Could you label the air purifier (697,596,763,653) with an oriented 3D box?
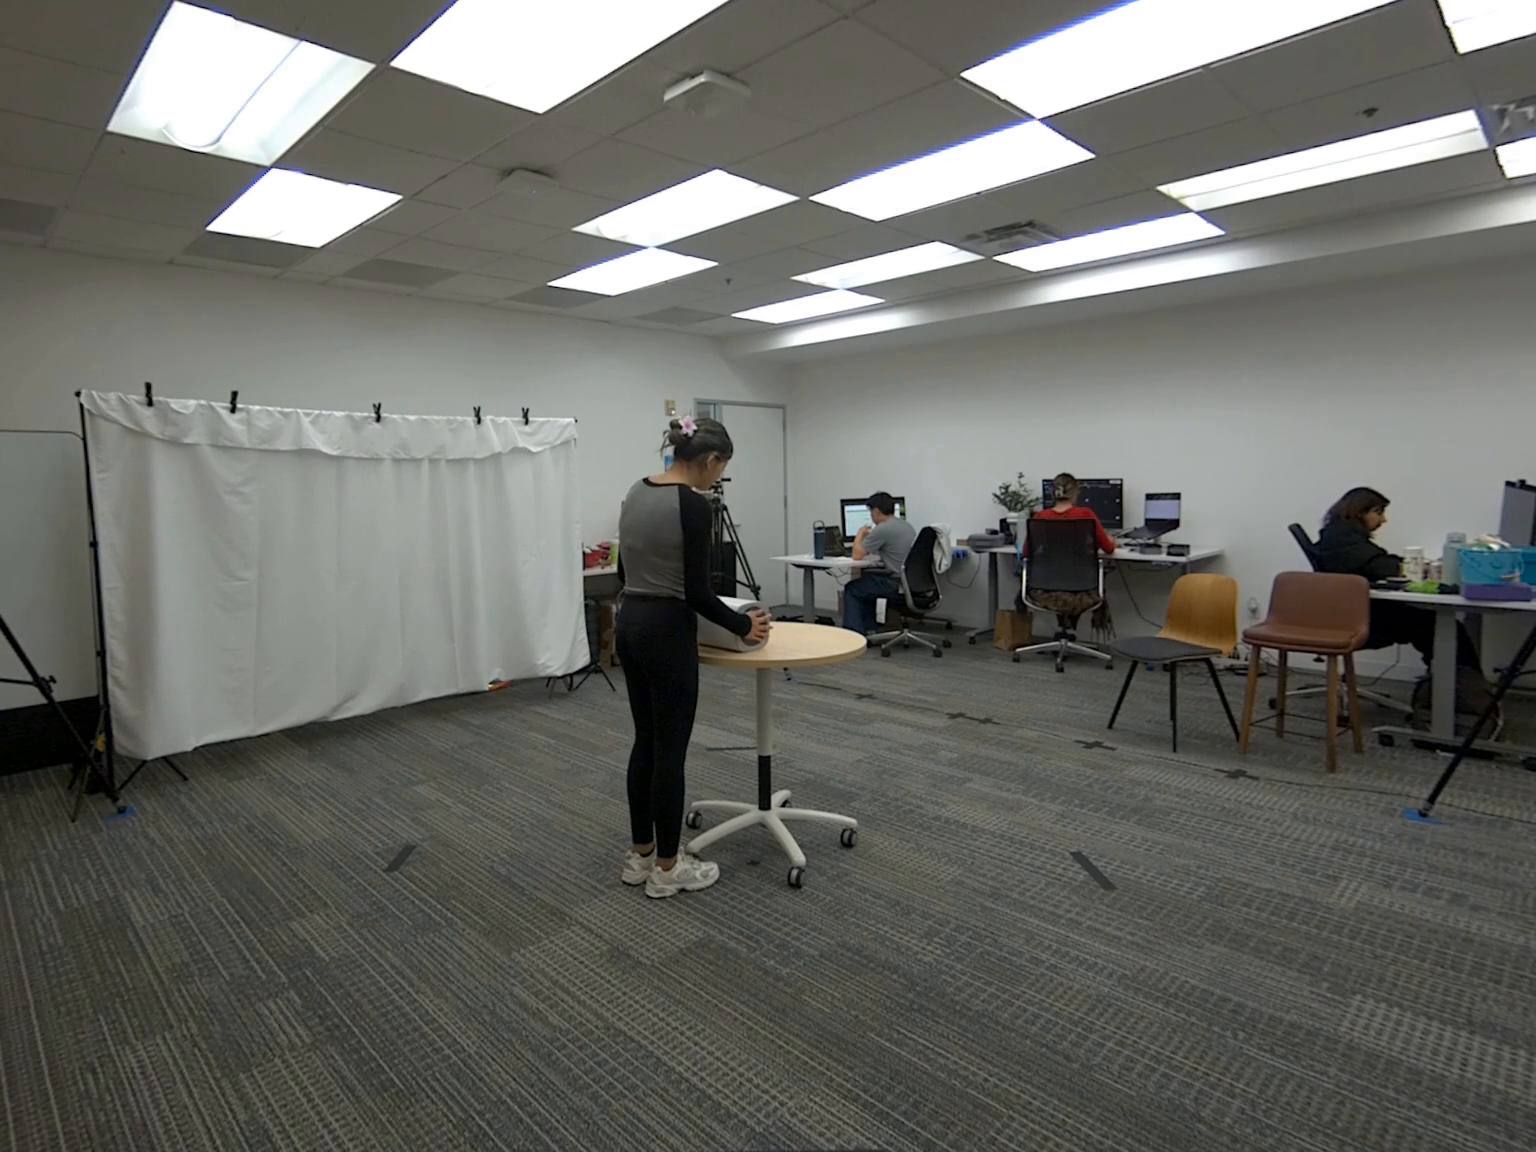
[{"bbox_3d":[-0.144,0.165,3.078,0.273,0.171,0.167,4,8,43],"label":"air purifier"}]
